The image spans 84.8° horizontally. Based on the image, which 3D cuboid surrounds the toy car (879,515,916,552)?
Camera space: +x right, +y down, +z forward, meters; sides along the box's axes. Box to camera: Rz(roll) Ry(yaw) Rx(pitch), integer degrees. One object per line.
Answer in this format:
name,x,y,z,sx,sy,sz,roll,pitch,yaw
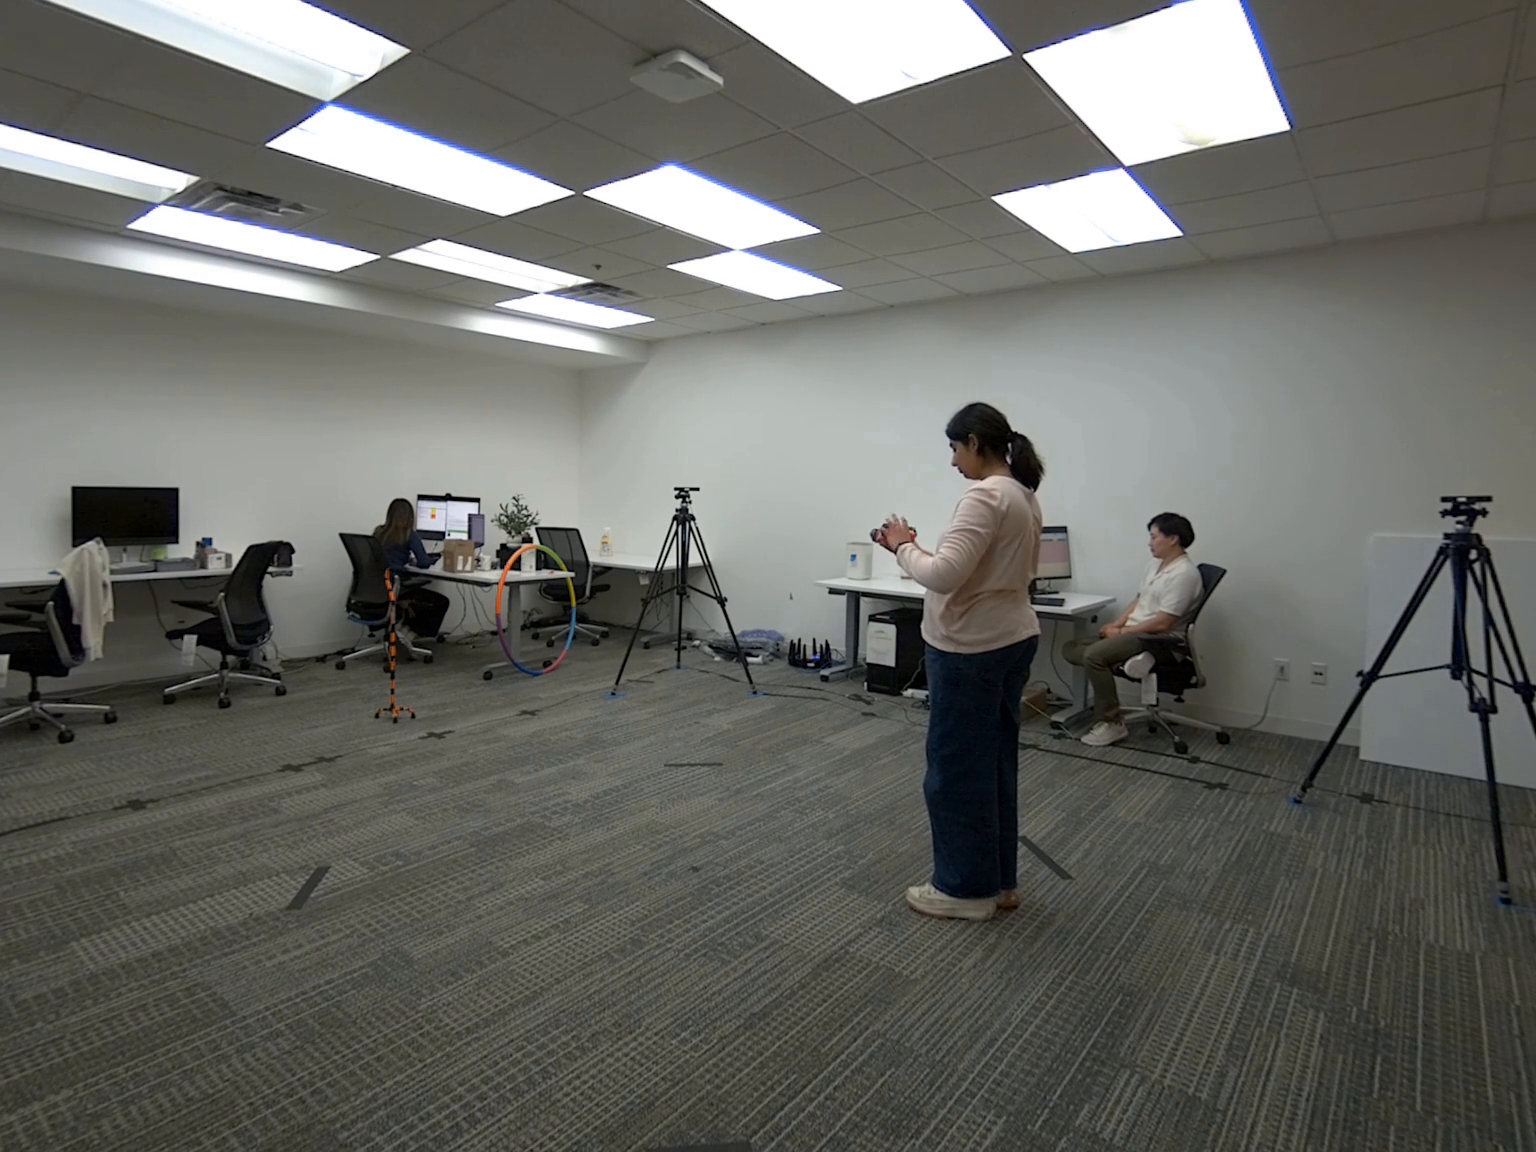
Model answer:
toy car,0.448,-0.144,3.022,0.129,0.083,0.258,8,6,-9
